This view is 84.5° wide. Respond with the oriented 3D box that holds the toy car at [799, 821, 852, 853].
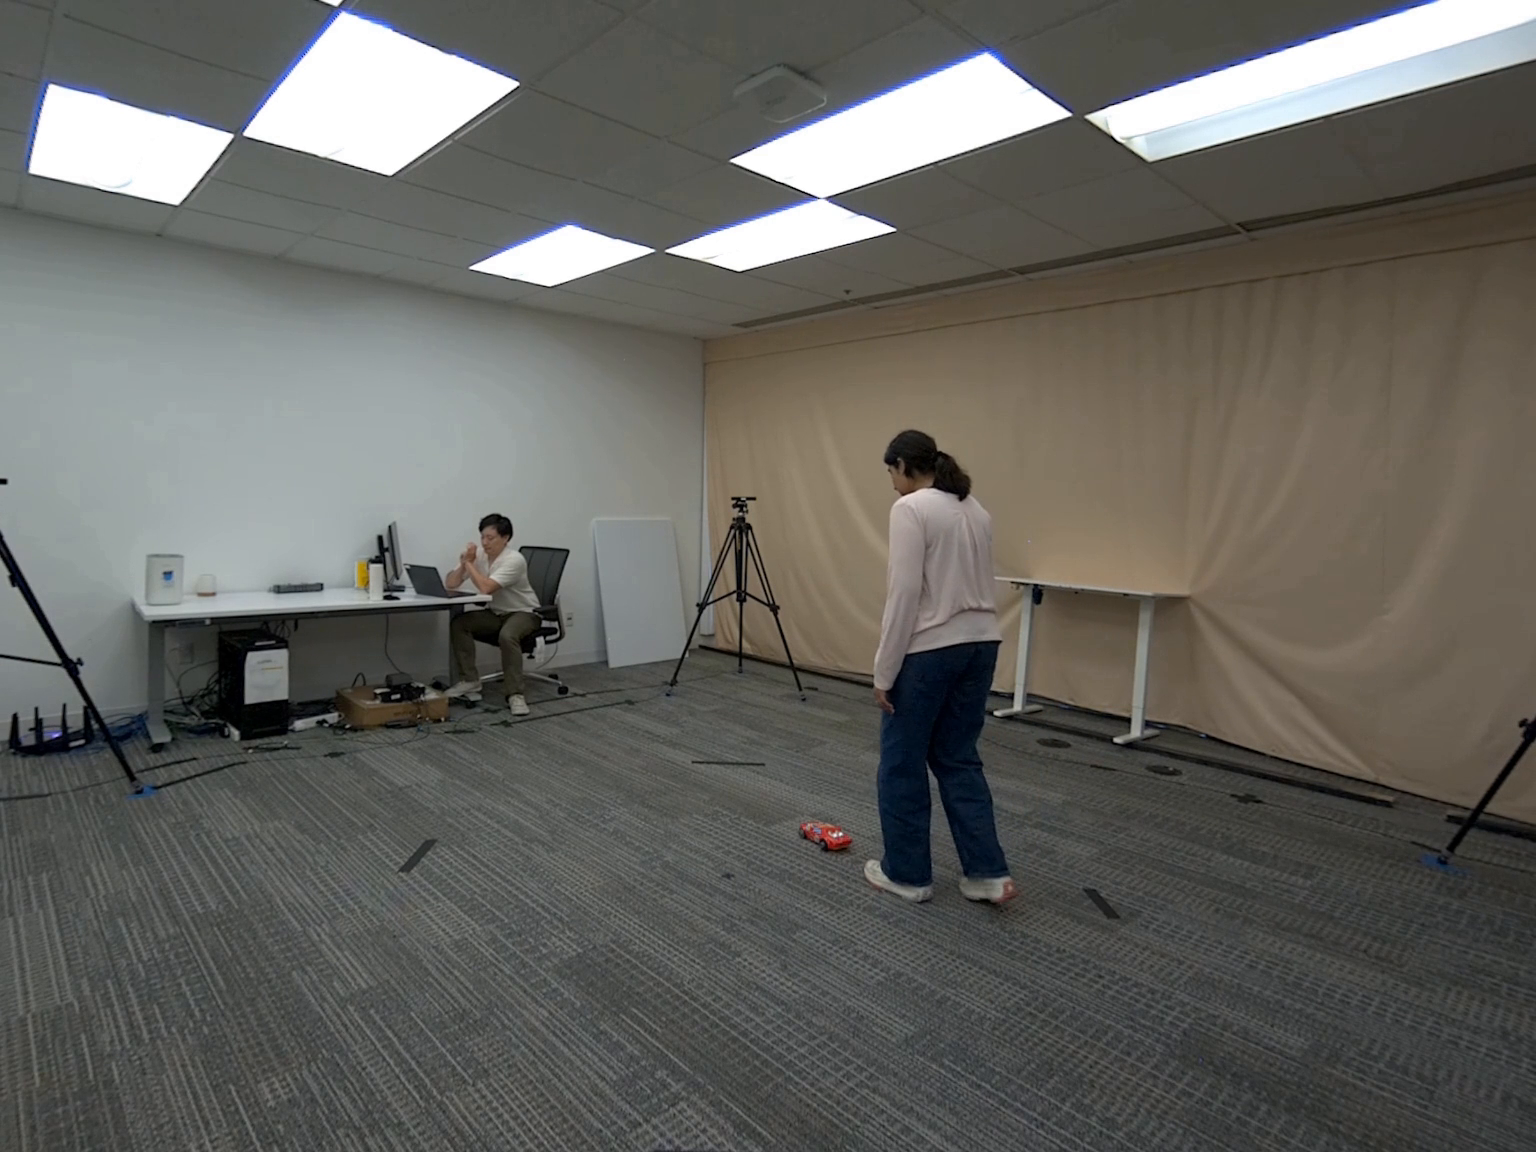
[{"bbox_3d":[0.232,1.060,3.418,0.127,0.083,0.259,-1,-6,-32],"label":"toy car"}]
